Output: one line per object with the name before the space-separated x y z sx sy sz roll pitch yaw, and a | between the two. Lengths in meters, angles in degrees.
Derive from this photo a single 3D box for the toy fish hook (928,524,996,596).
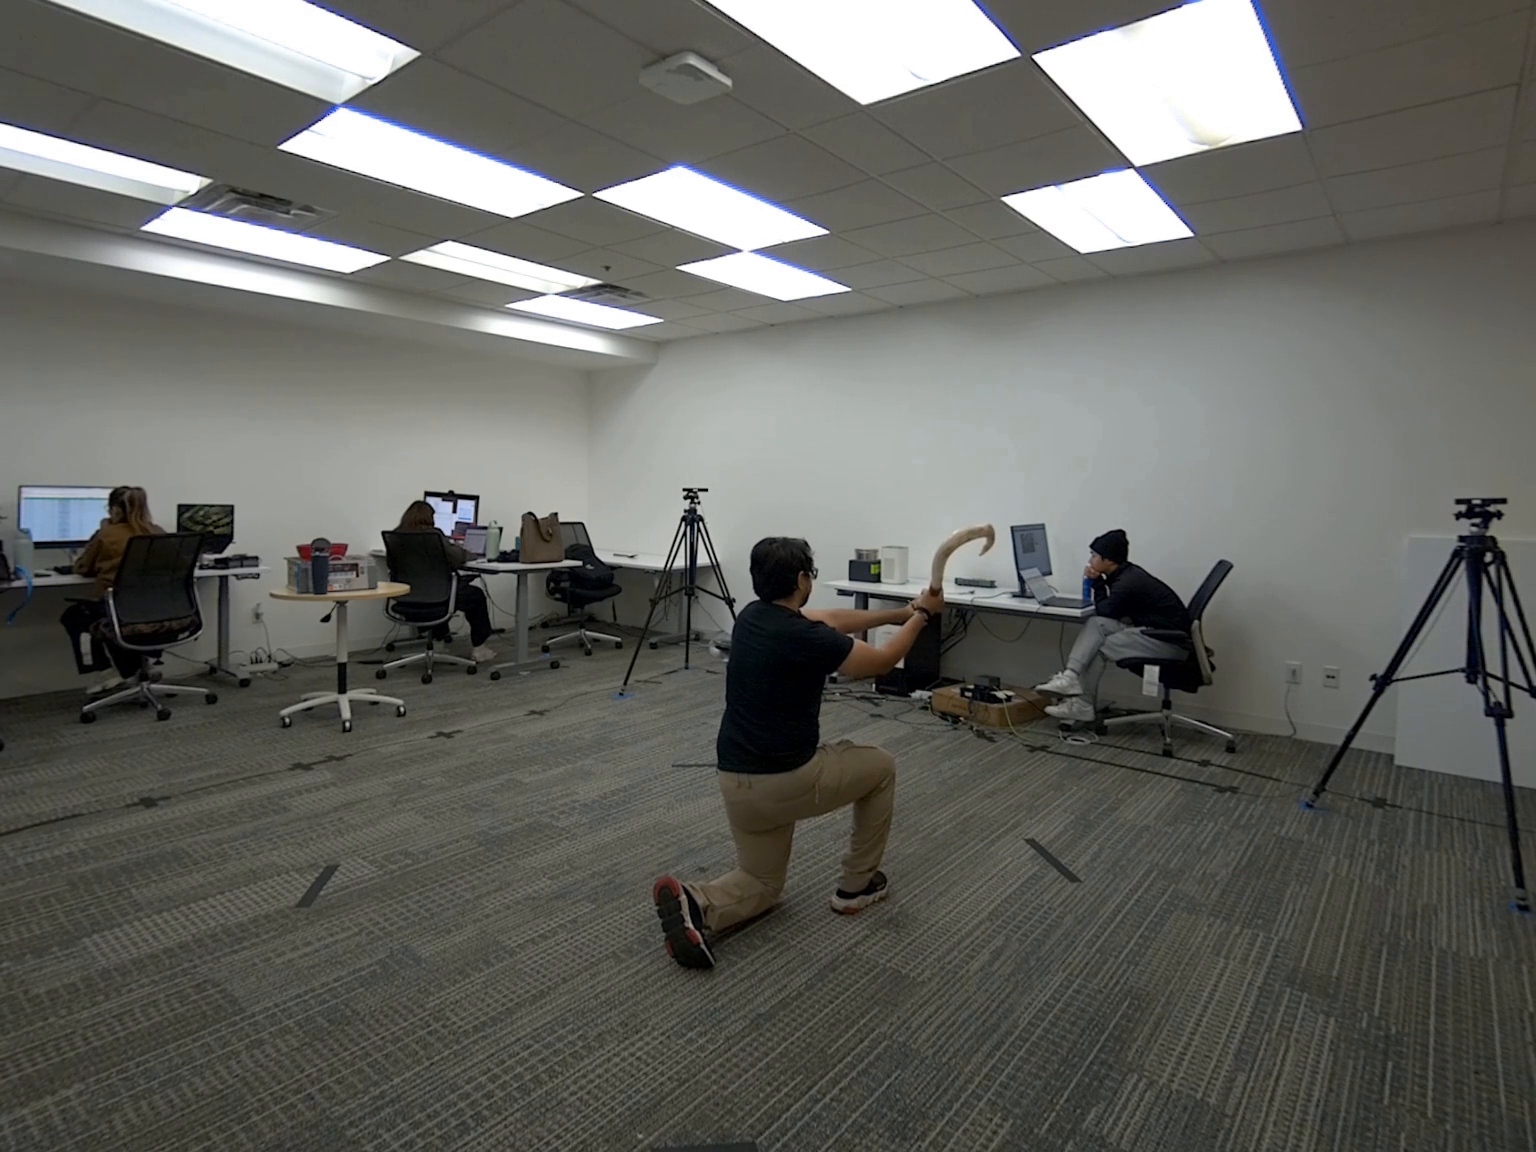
toy fish hook | 0.627 0.001 2.889 0.222 0.050 0.496 -8 -34 -15
